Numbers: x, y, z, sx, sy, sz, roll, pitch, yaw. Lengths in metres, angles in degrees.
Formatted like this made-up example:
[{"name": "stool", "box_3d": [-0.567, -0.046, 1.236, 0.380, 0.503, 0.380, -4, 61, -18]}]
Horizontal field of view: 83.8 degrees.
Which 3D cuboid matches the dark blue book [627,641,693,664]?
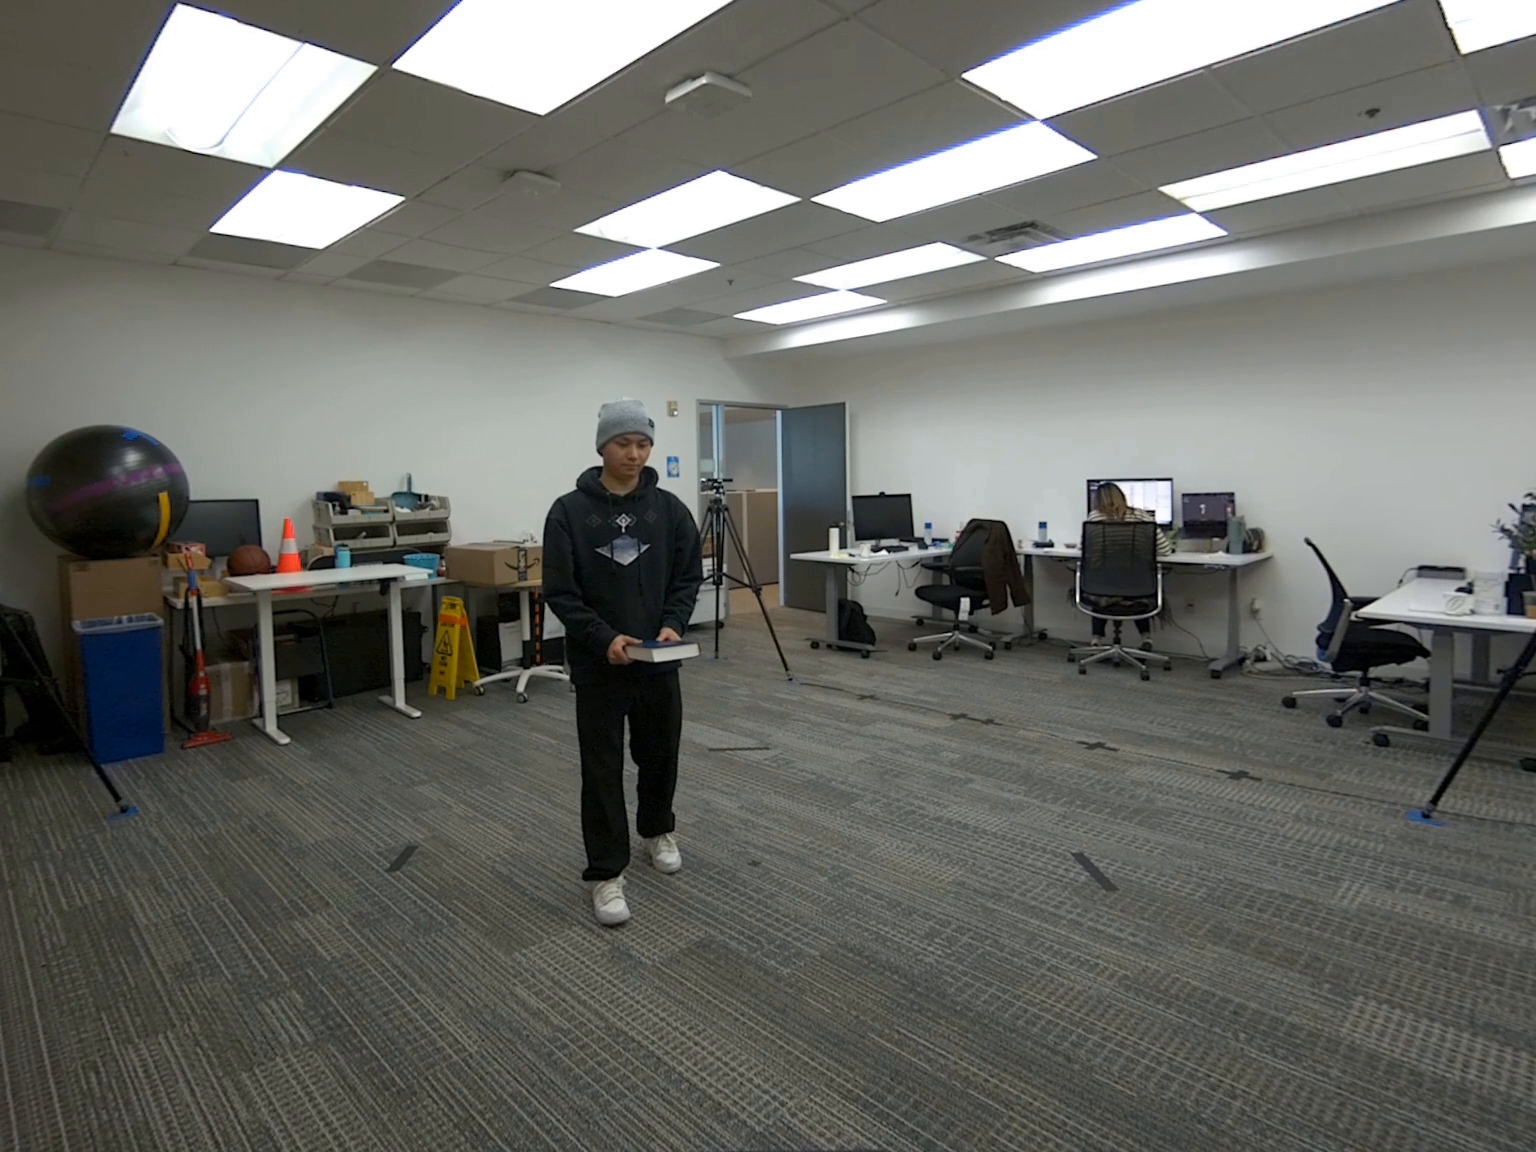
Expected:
[{"name": "dark blue book", "box_3d": [-0.366, 0.231, 2.627, 0.159, 0.045, 0.251, -5, 4, -32]}]
